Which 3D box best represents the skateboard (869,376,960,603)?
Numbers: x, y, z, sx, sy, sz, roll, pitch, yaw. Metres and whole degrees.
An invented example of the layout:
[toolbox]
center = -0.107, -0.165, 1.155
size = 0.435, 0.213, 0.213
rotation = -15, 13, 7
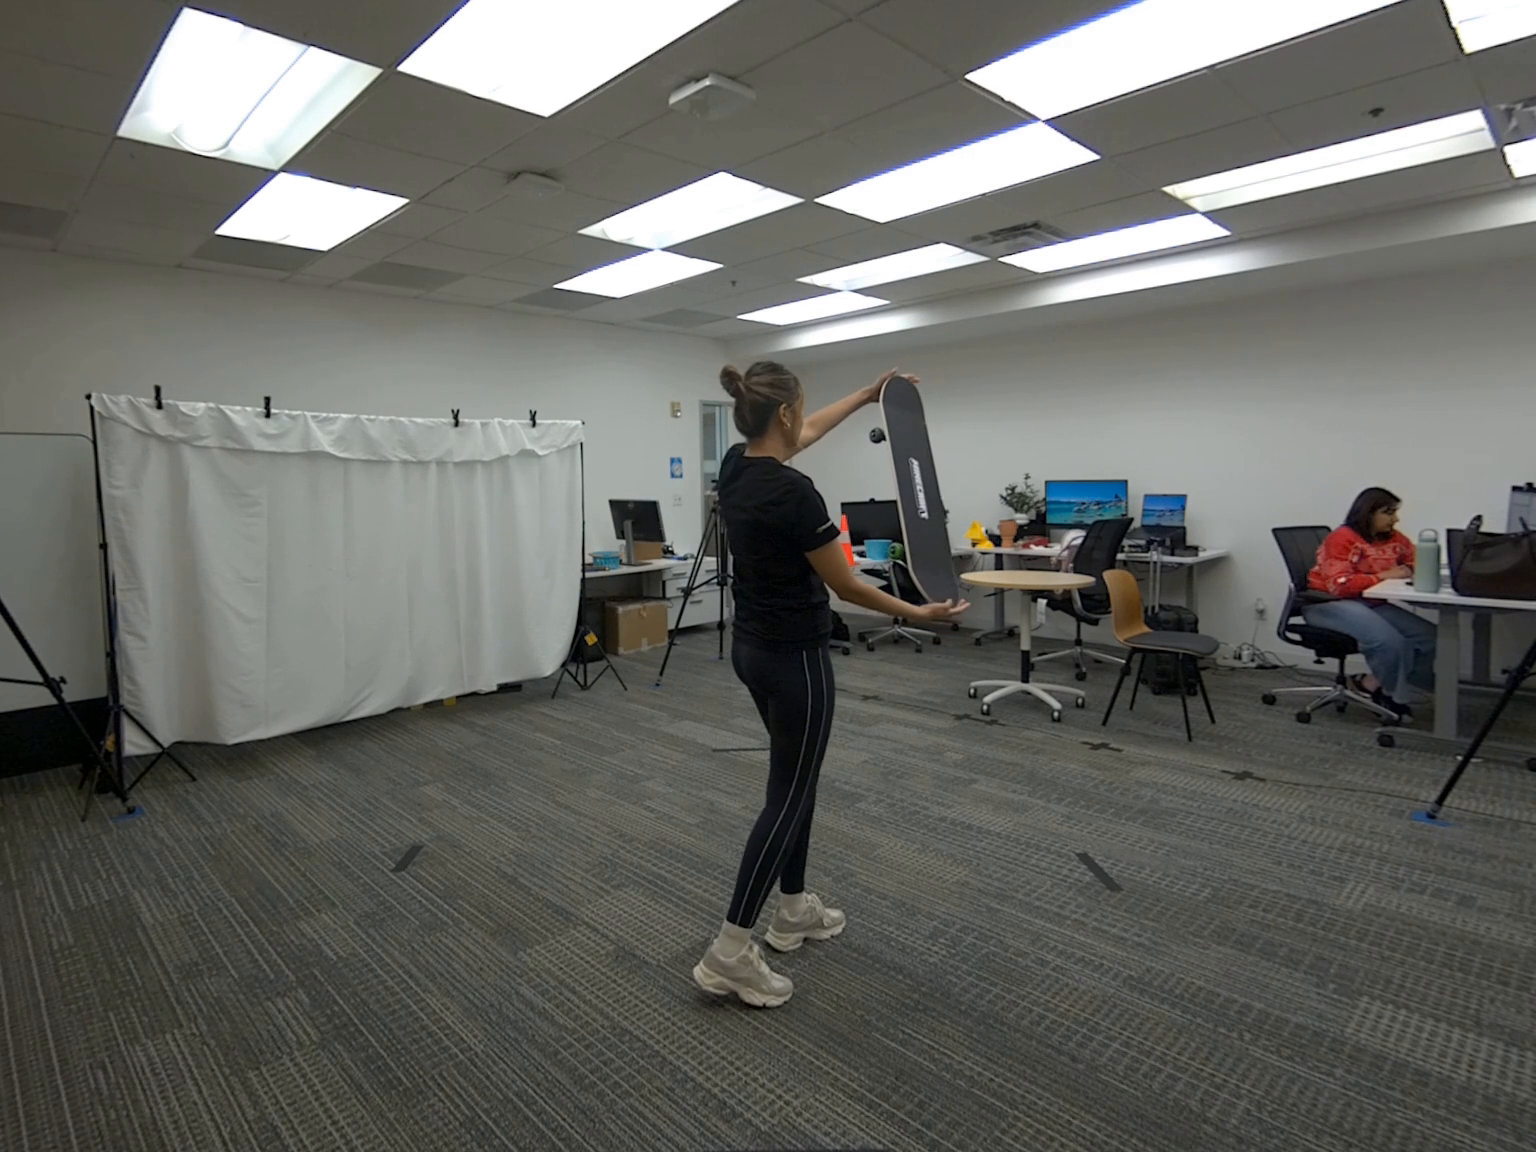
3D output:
[skateboard]
center = 0.444, -0.256, 2.637
size = 0.187, 0.802, 0.111
rotation = 12, -29, -34
